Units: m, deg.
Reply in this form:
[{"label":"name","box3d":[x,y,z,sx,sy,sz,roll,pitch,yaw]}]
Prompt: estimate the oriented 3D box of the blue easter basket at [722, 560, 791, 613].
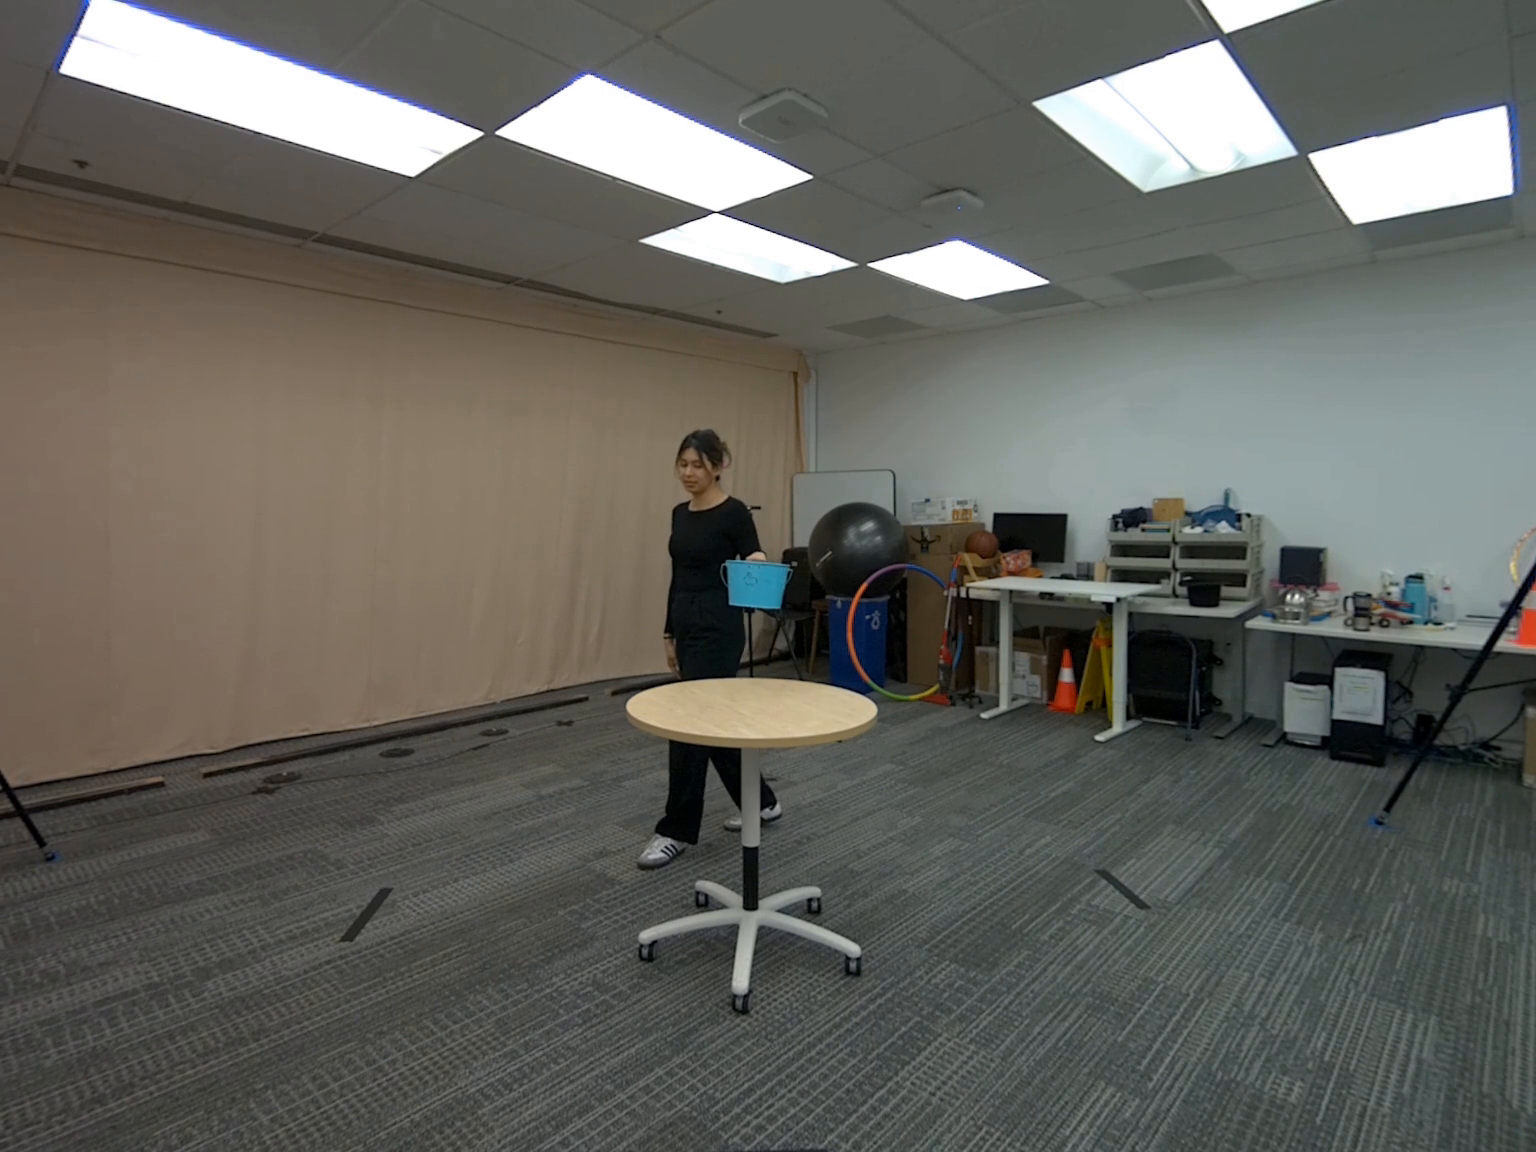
[{"label":"blue easter basket","box3d":[-0.028,0.031,2.971,0.243,0.156,0.244,4,0,-2]}]
